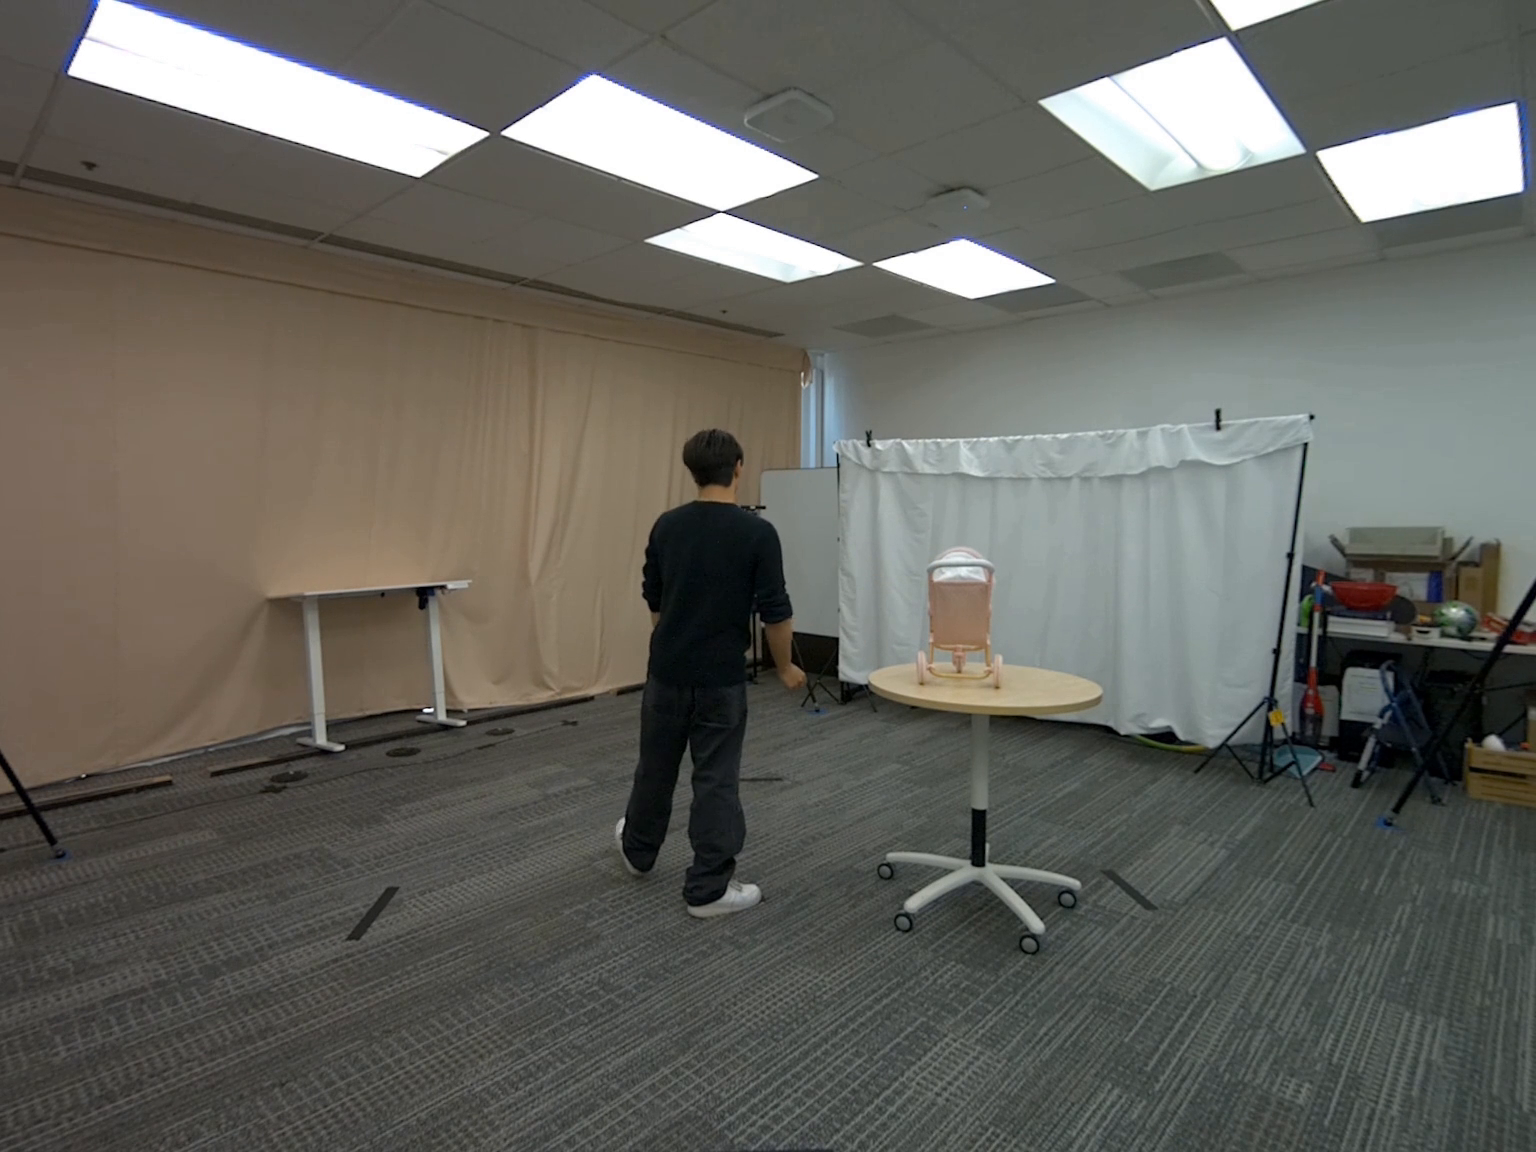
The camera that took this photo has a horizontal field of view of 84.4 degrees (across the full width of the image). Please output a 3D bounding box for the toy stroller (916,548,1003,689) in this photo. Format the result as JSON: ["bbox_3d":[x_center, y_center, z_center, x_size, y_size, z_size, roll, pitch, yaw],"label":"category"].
[{"bbox_3d":[0.667,0.142,2.890,0.287,0.528,0.339,0,19,17],"label":"toy stroller"}]
